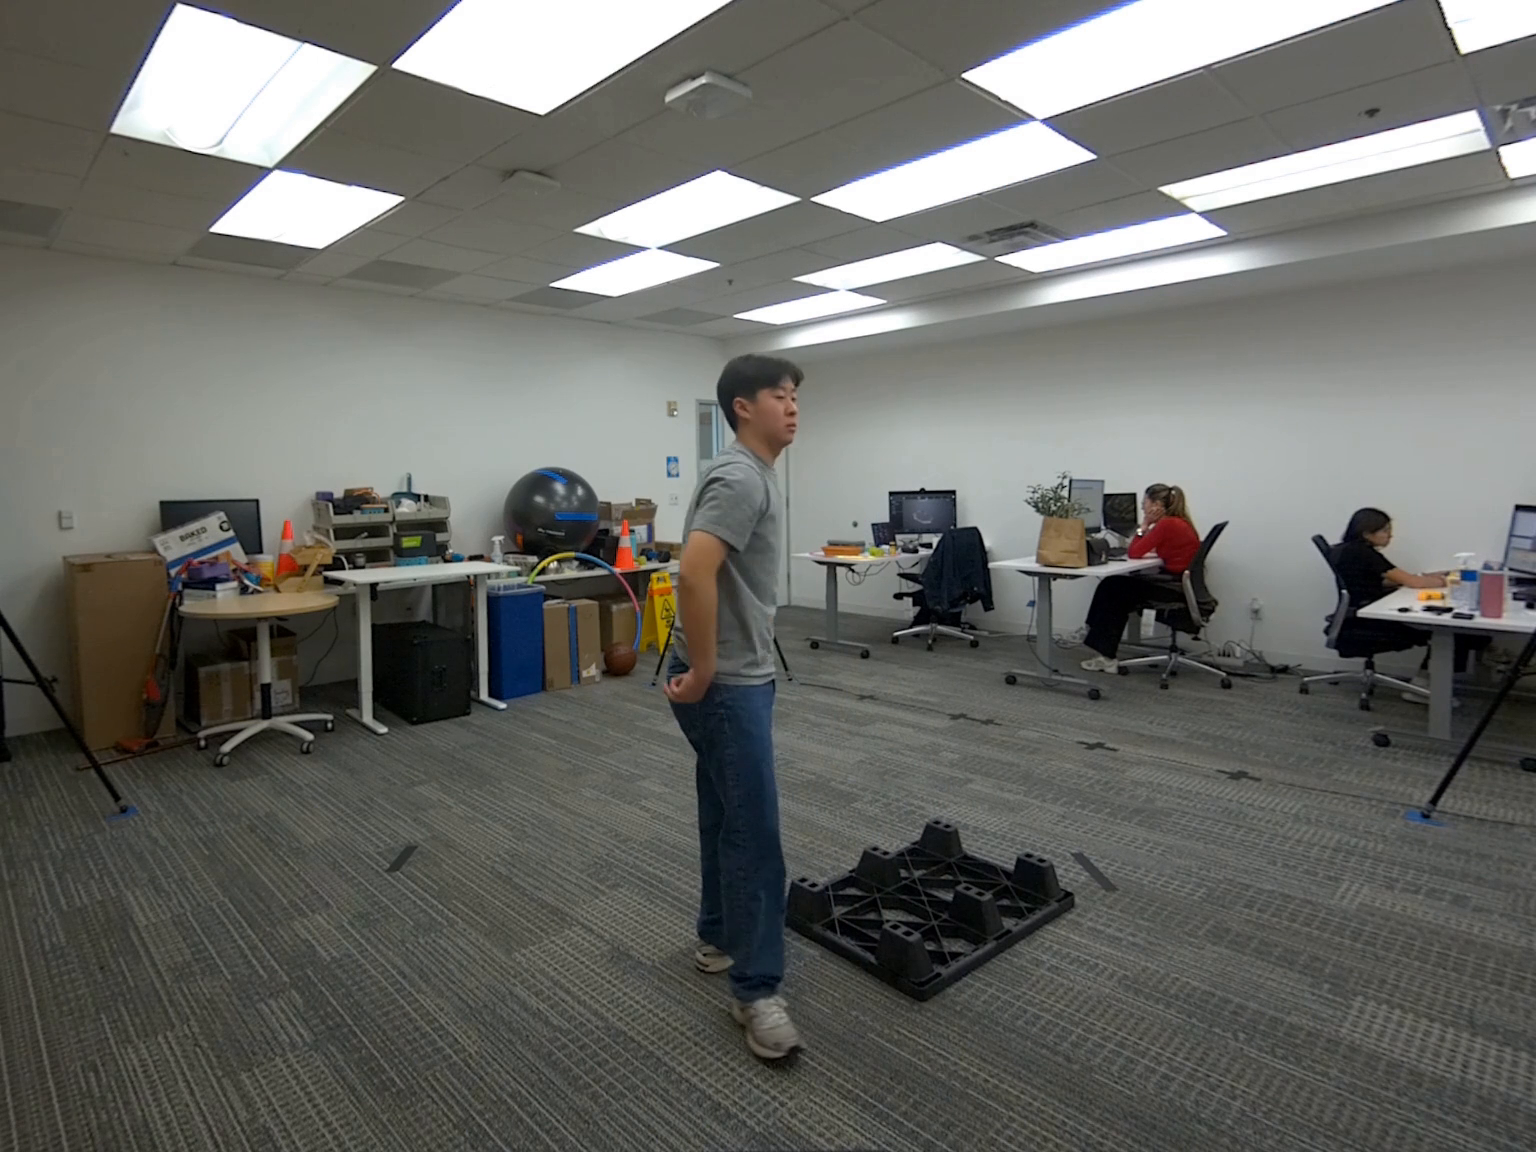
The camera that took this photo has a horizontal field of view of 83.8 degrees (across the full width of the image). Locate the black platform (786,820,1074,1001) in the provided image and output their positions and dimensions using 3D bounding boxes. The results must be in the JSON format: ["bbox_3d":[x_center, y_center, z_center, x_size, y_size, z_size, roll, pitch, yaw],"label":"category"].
[{"bbox_3d":[0.506,1.010,2.744,0.785,0.142,0.624,-6,9,-40],"label":"black platform"}]
